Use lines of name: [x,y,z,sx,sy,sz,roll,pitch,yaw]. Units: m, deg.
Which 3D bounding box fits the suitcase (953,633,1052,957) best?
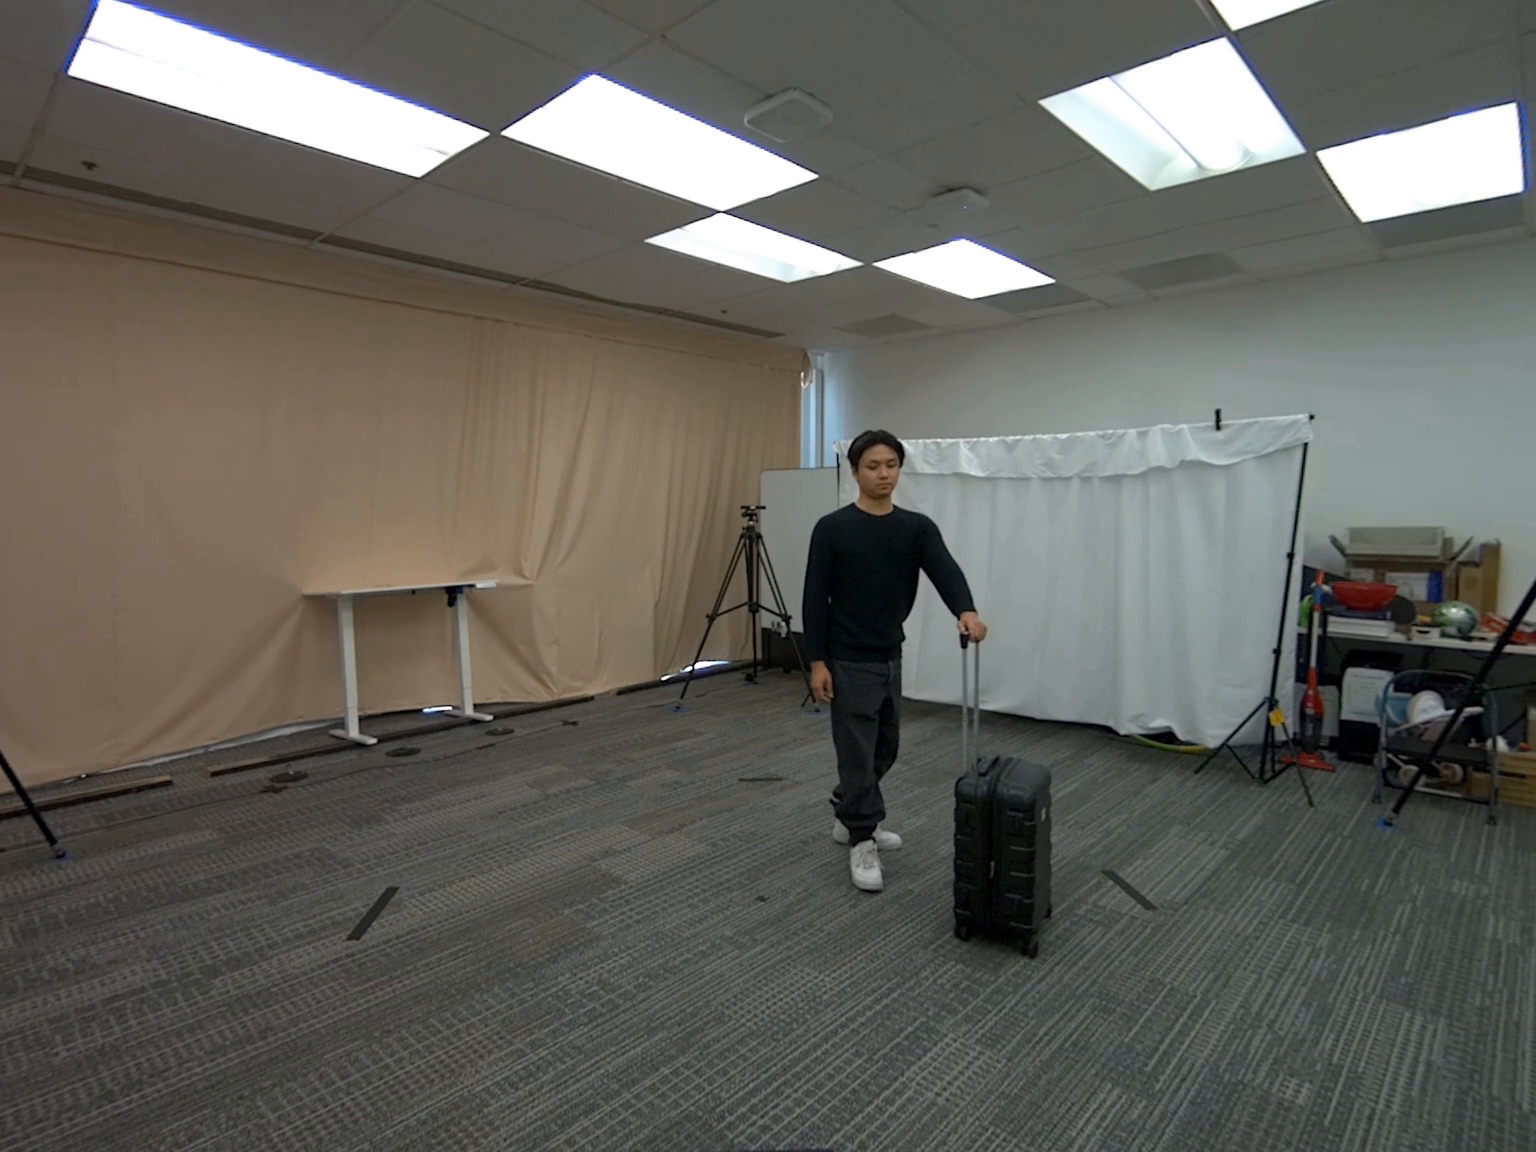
suitcase: [0.780,0.686,2.737,0.264,0.975,0.375,3,6,27]
